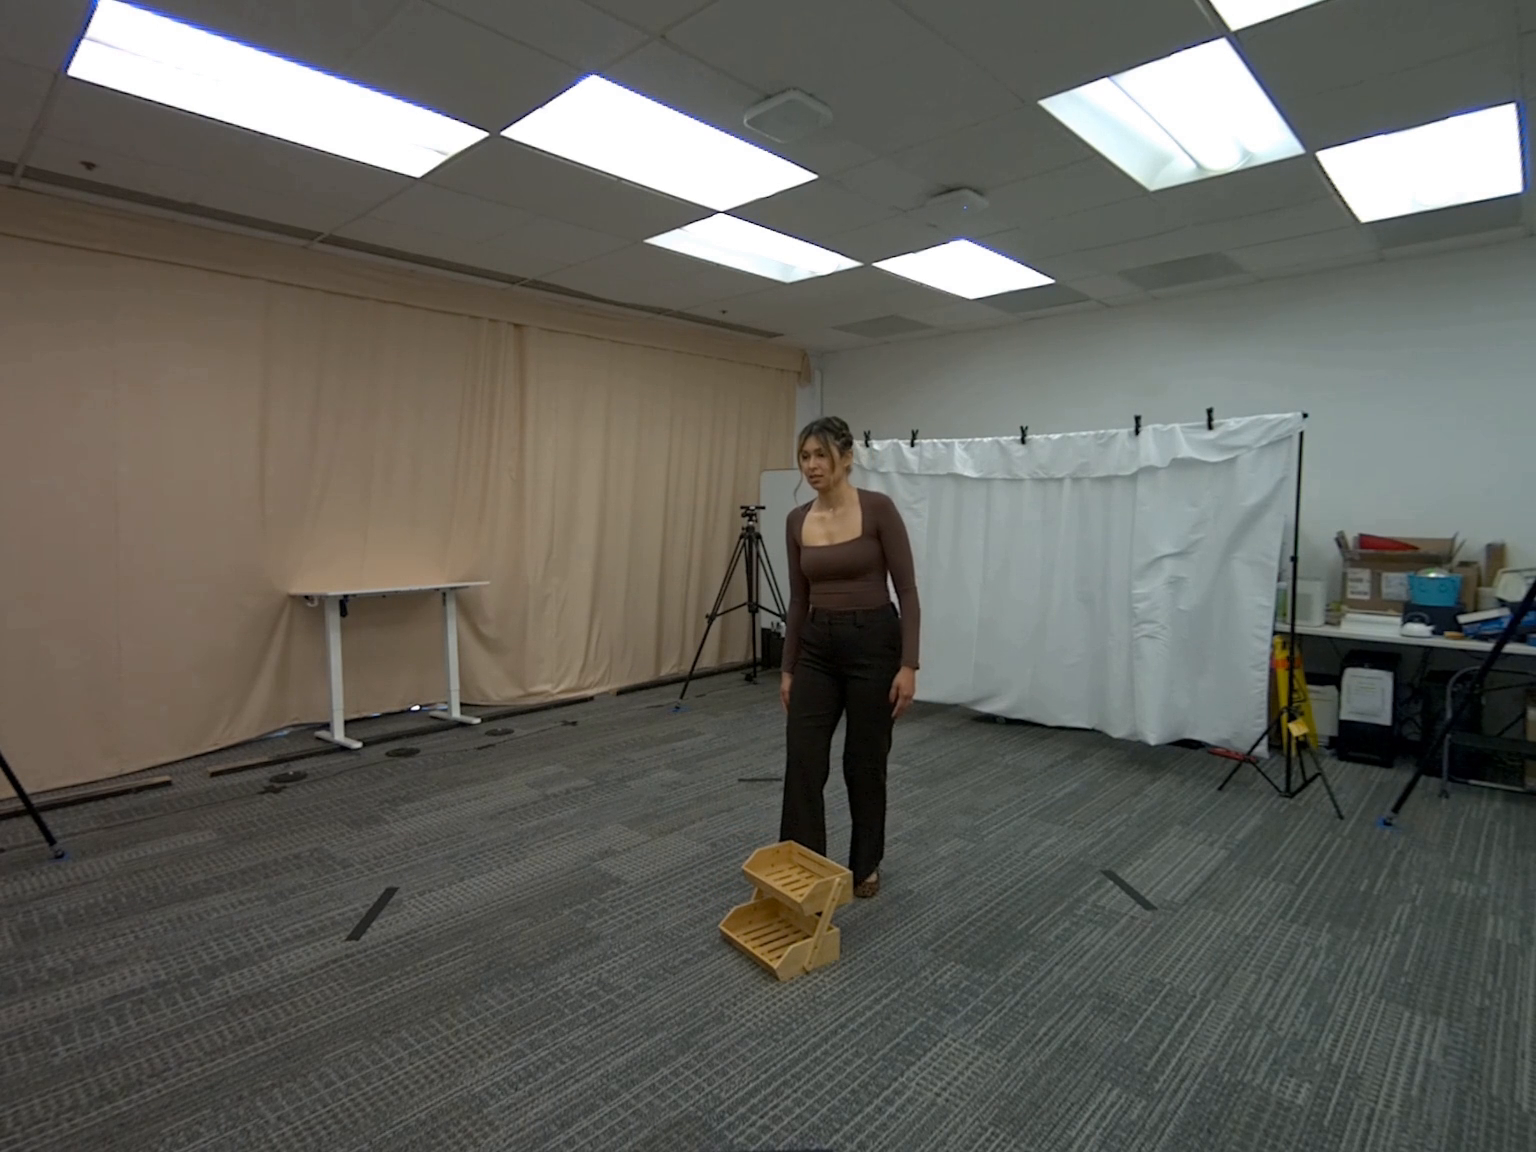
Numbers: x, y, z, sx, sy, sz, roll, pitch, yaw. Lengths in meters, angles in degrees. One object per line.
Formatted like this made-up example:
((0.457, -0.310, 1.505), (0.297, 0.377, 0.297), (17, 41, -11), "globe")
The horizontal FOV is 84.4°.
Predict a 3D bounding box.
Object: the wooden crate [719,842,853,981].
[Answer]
((0.051, 1.039, 2.649), (0.293, 0.273, 0.335), (-2, 4, -37), "wooden crate")
